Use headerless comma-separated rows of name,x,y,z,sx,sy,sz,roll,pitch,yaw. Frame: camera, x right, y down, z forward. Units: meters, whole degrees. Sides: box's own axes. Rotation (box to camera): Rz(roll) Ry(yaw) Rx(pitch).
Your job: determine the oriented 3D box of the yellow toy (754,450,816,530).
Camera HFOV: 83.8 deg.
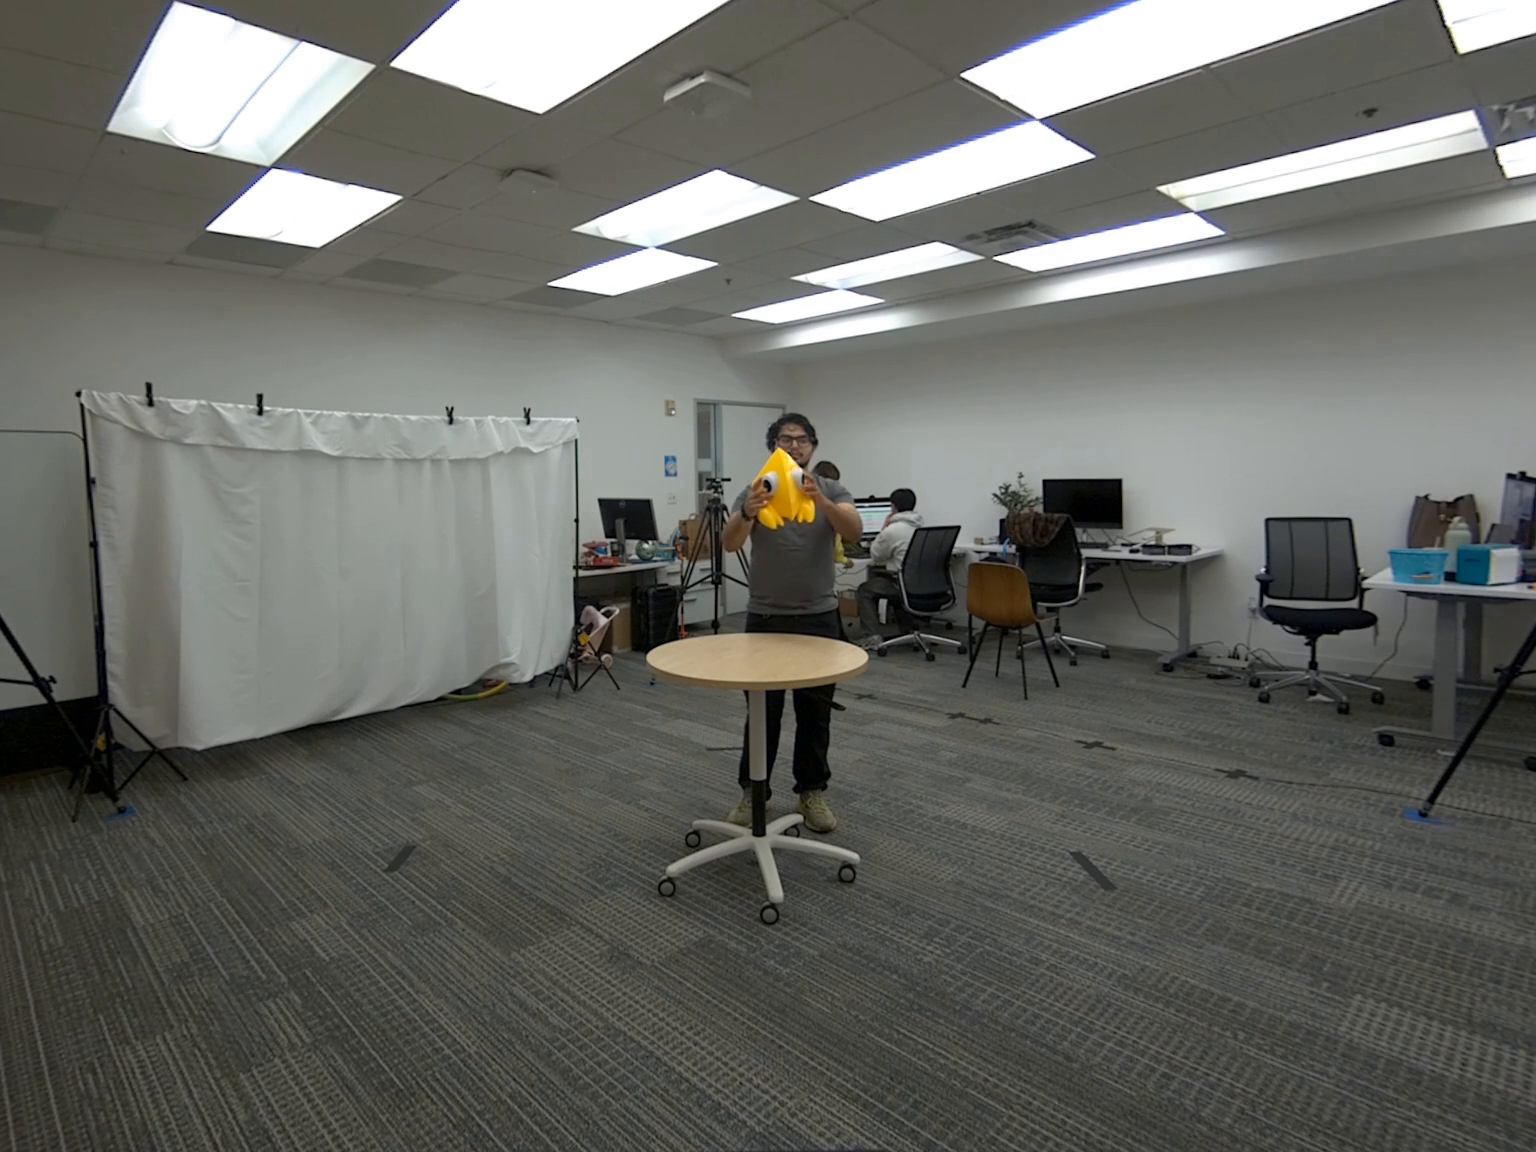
yellow toy,0.055,-0.324,2.986,0.203,0.224,0.199,-10,34,-9
